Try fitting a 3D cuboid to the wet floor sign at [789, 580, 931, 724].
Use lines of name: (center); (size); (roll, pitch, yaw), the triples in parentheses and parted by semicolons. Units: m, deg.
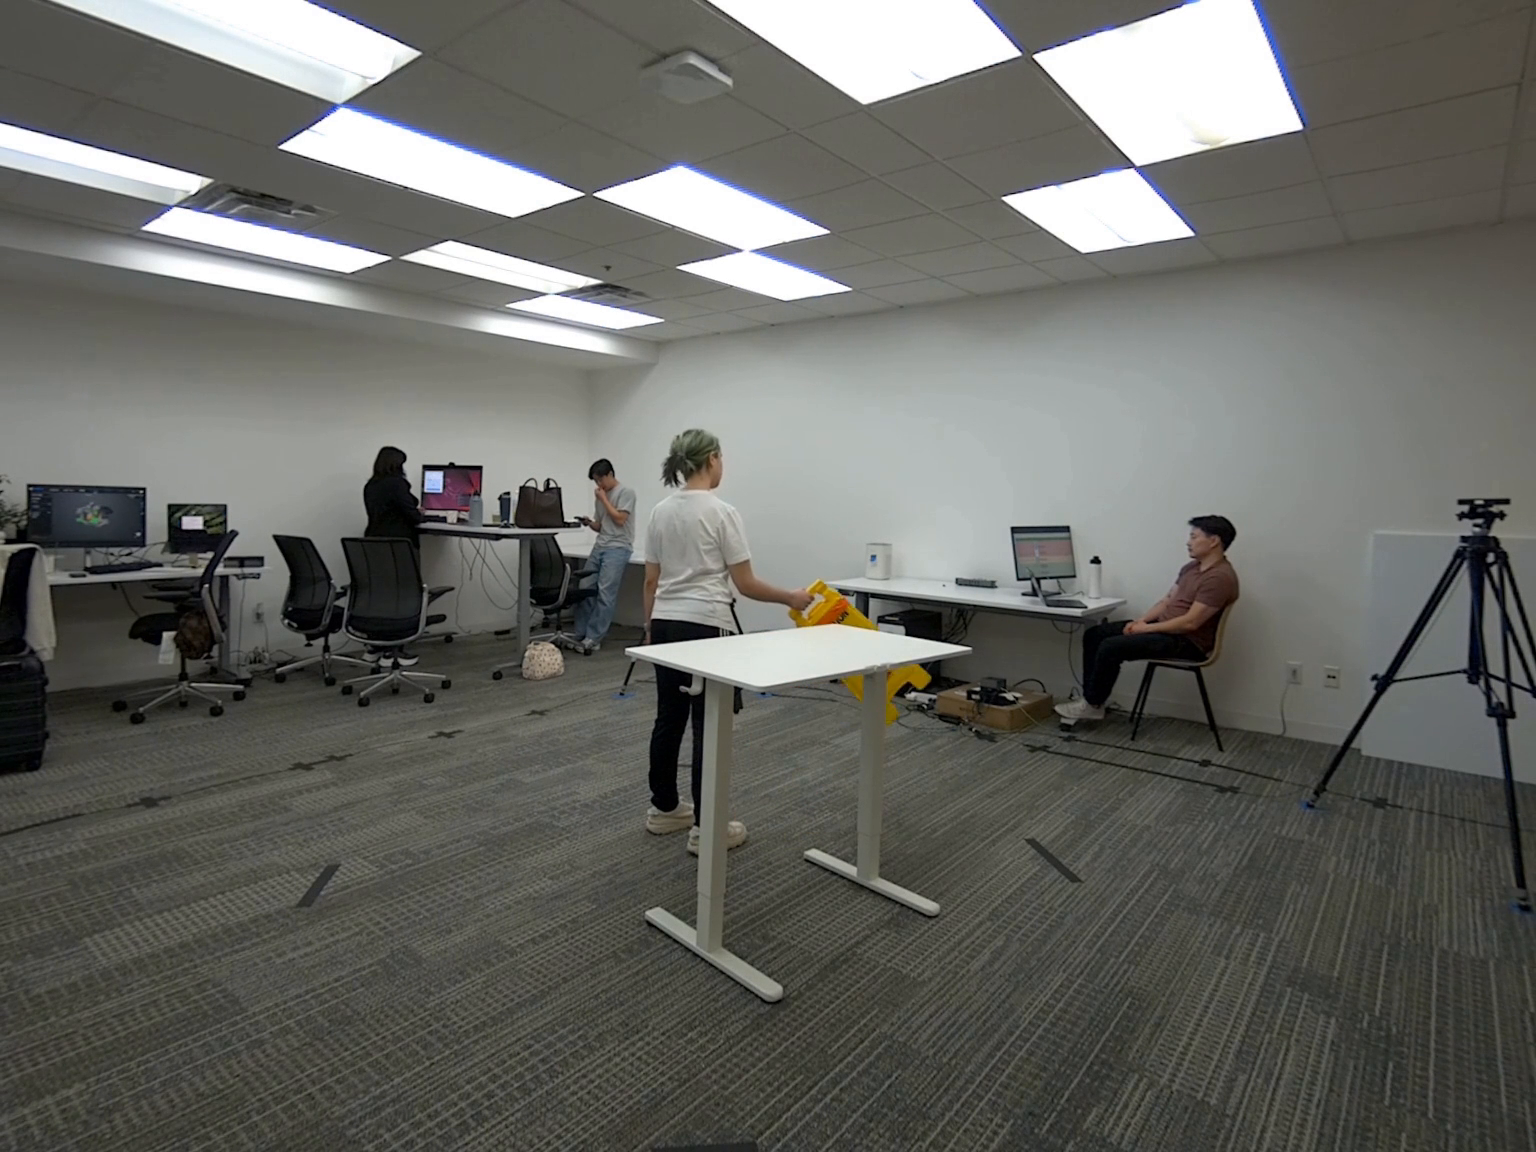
wet floor sign: (0.341, 0.291, 3.574); (0.628, 0.282, 0.298); (46, -4, -21)
